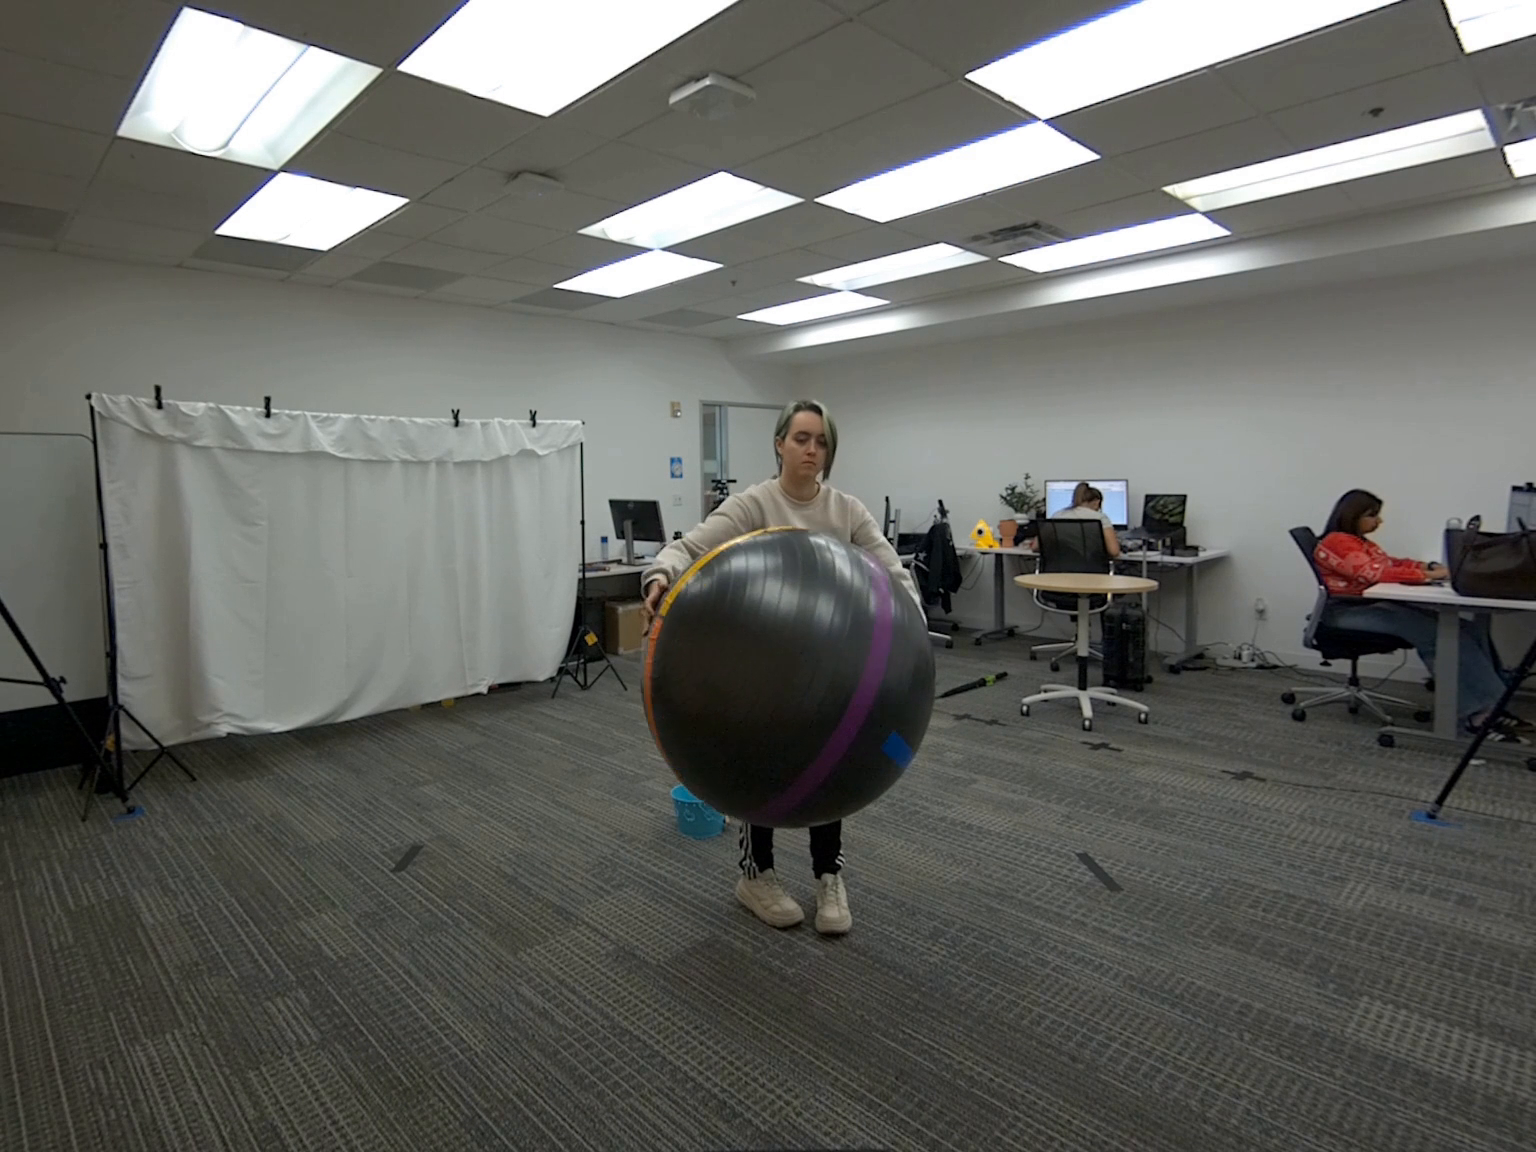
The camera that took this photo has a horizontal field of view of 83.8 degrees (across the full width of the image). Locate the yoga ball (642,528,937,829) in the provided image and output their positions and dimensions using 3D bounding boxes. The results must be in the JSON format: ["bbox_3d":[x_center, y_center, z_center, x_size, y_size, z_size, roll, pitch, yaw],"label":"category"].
[{"bbox_3d":[0.046,0.259,2.207,0.757,0.755,0.762,-1,5,-2],"label":"yoga ball"}]
